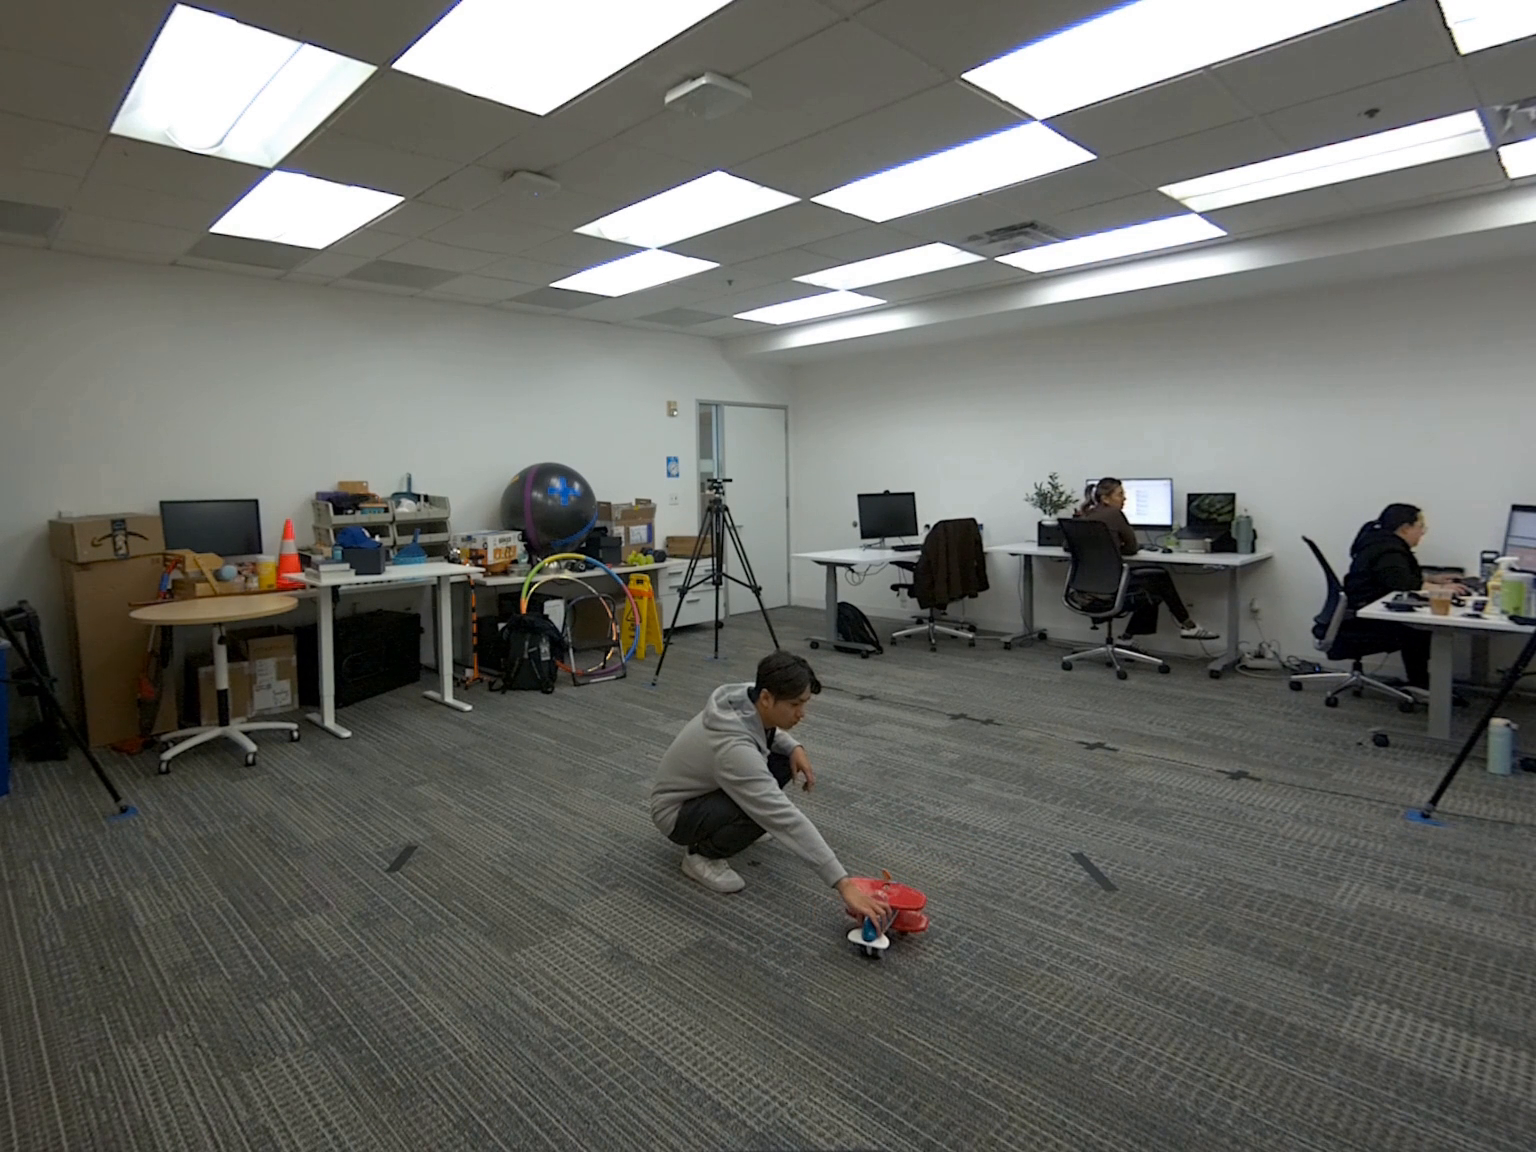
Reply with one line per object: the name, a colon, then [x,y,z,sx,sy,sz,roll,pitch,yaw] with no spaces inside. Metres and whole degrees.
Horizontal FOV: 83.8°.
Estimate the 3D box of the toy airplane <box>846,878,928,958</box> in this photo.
toy airplane: [0.365,1.027,2.563,0.251,0.156,0.260,-1,4,0]
